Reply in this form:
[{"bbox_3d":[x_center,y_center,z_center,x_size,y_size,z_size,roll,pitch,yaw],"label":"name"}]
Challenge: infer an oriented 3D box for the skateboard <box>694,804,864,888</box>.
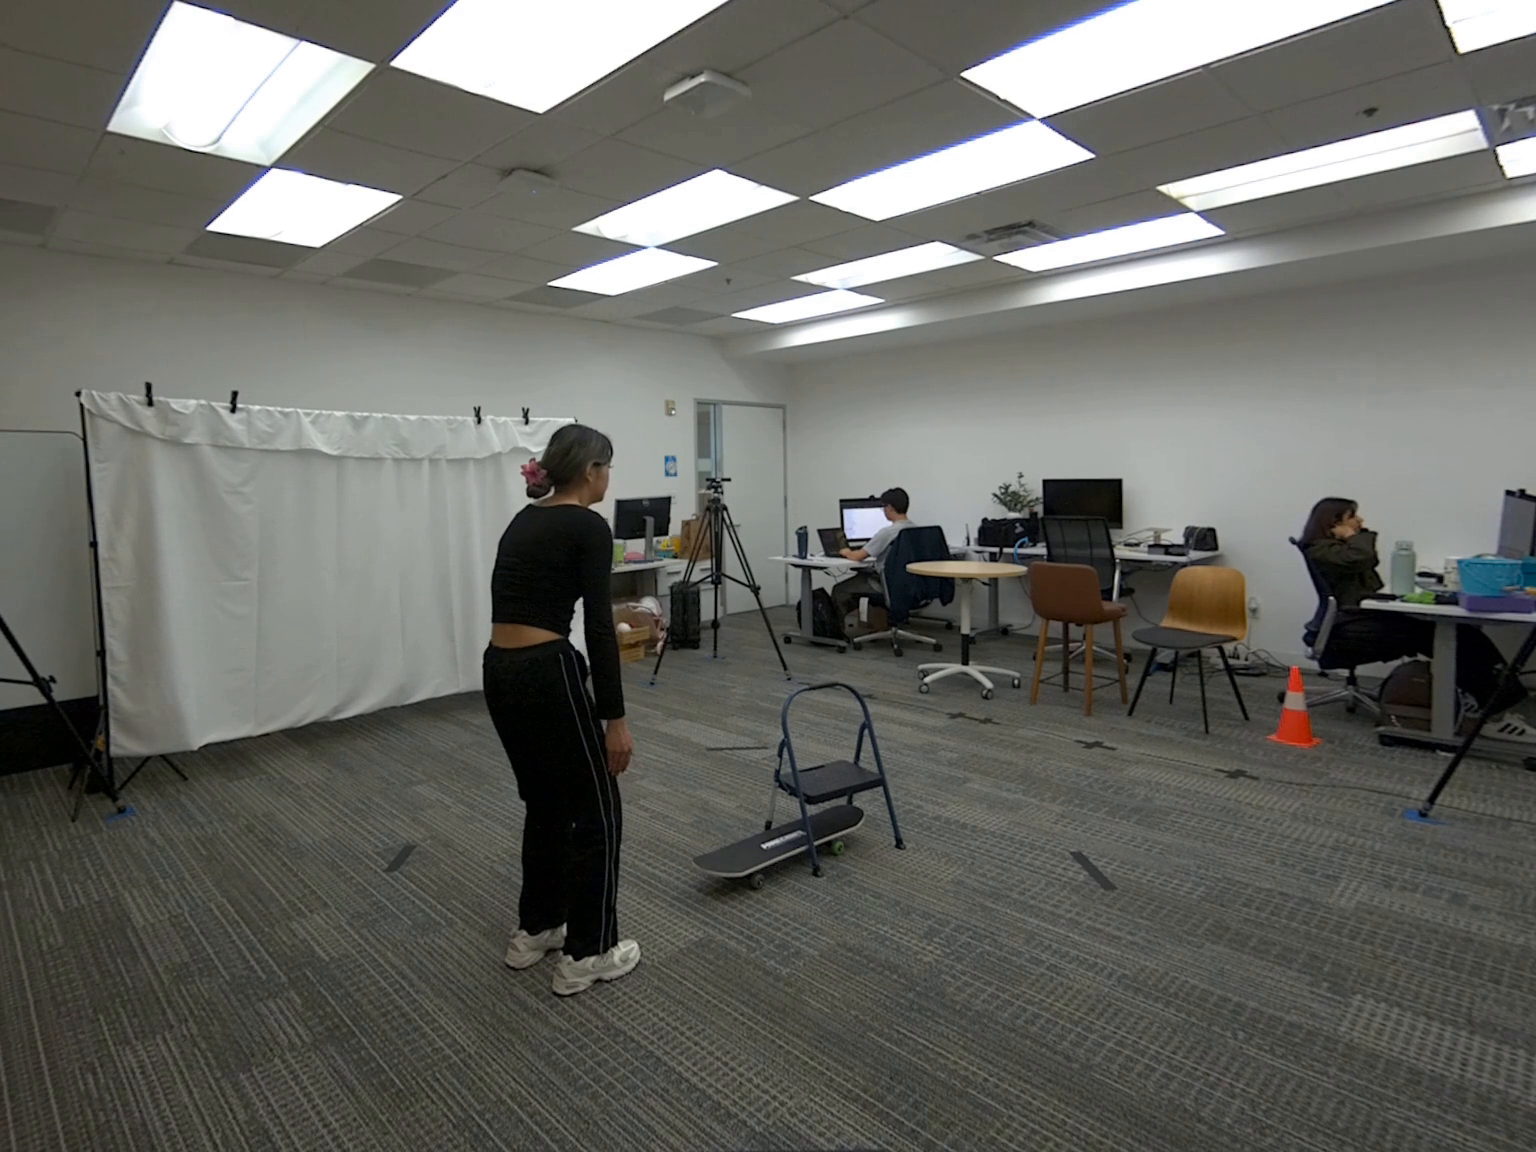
[{"bbox_3d":[0.060,0.983,3.090,0.765,0.110,0.199,-7,7,-40],"label":"skateboard"}]
